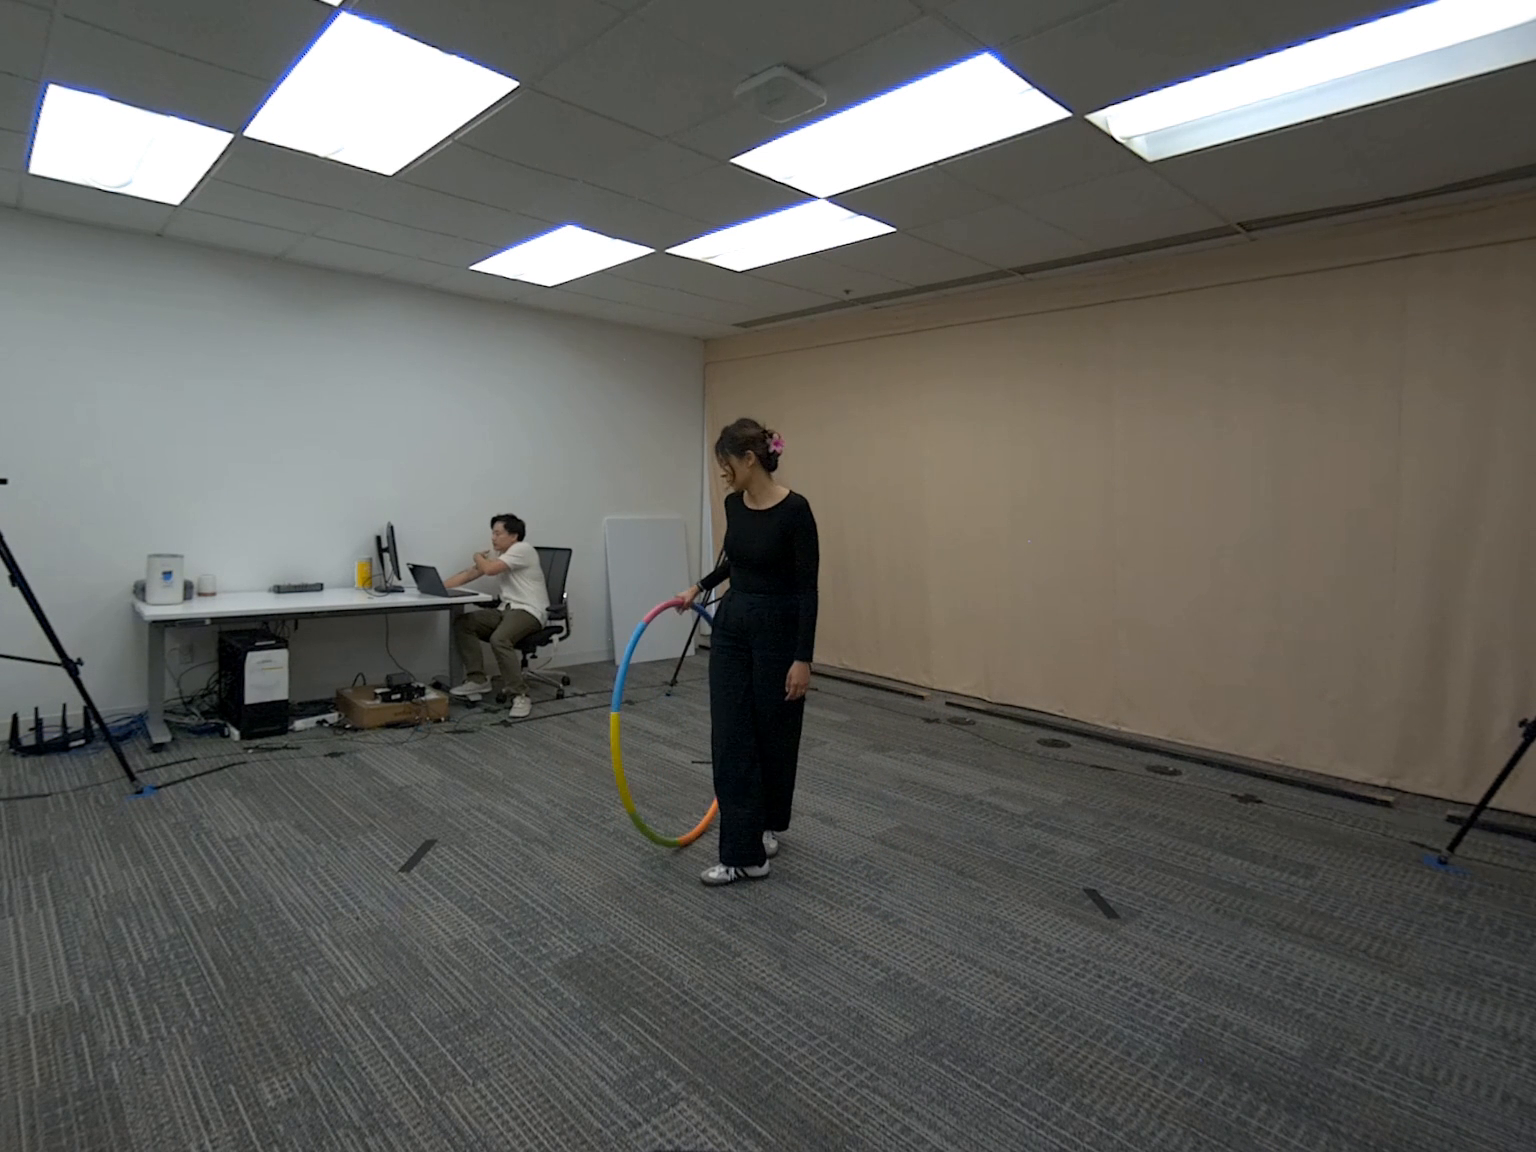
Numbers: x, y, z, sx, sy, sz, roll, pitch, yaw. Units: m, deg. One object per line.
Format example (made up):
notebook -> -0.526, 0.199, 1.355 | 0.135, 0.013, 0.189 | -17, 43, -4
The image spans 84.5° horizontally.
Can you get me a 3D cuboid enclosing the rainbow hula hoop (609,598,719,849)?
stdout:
rainbow hula hoop -> -0.345, 0.588, 3.415 | 0.036, 0.978, 0.963 | -4, 1, 24
